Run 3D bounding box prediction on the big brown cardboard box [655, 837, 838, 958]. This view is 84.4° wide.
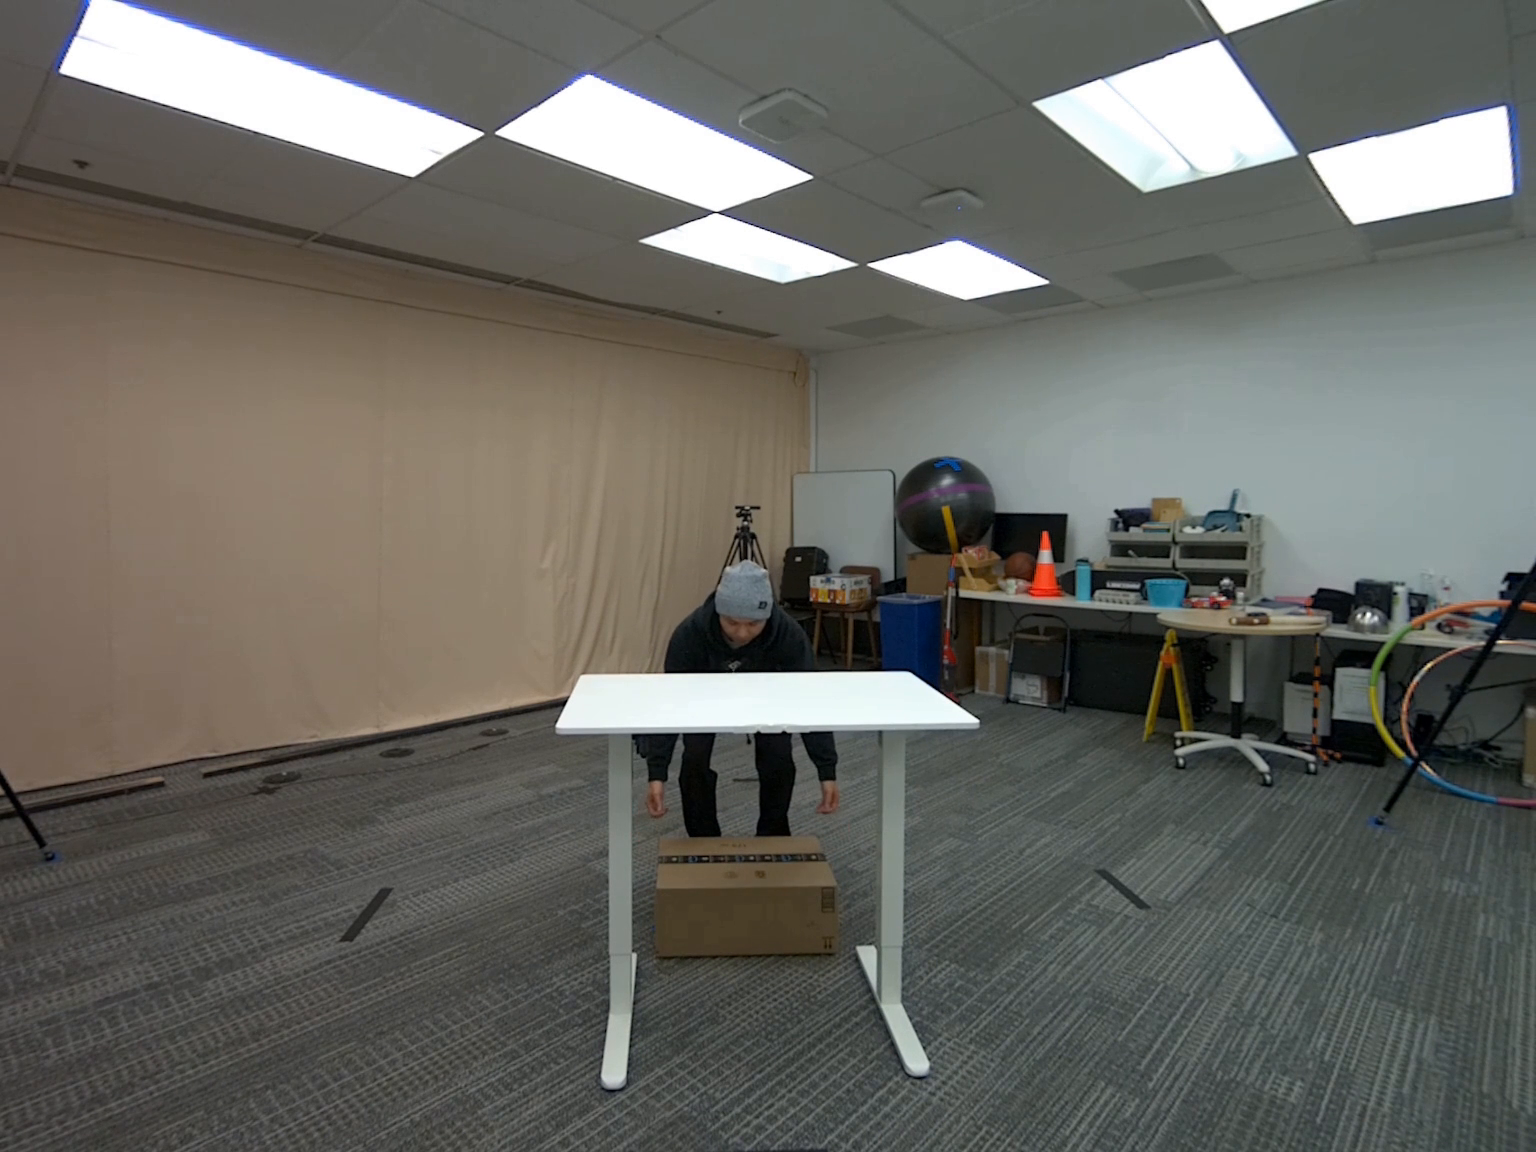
[{"bbox_3d":[-0.087,1.046,2.795,0.588,0.233,0.419,-1,4,-3],"label":"big brown cardboard box"}]
